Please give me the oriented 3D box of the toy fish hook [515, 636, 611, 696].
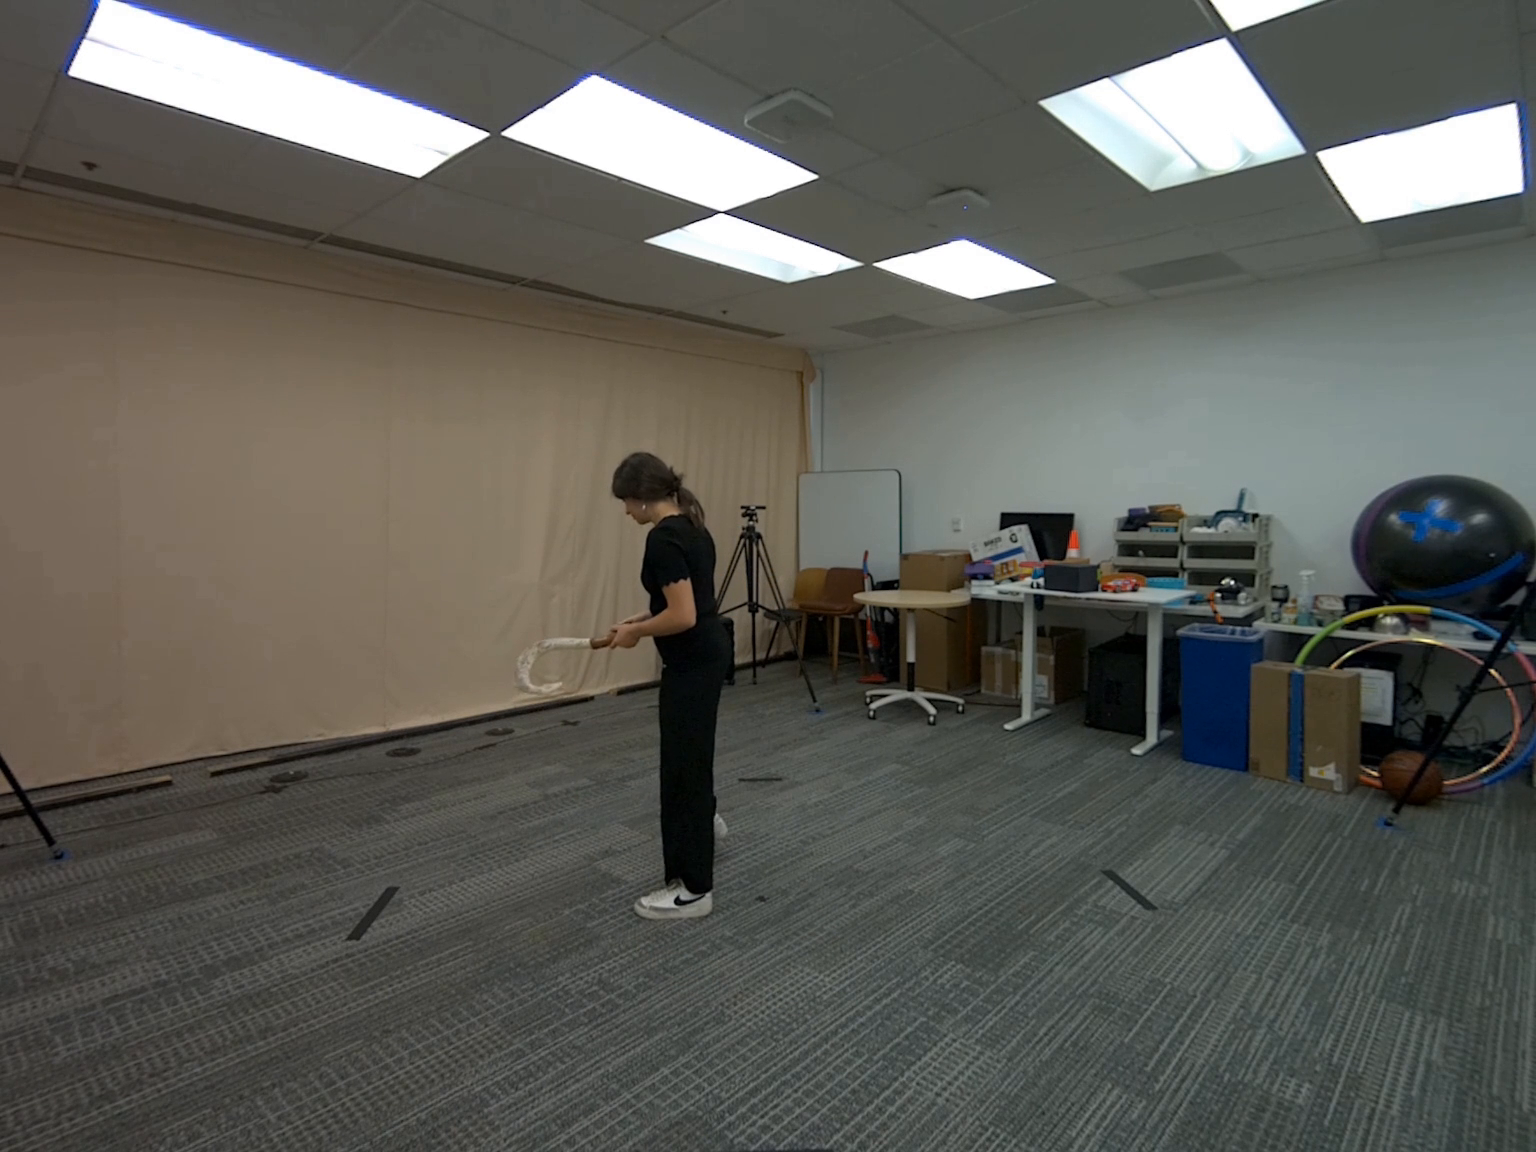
[{"bbox_3d":[-0.654,0.291,2.945,0.513,0.229,0.047,-14,-34,13],"label":"toy fish hook"}]
